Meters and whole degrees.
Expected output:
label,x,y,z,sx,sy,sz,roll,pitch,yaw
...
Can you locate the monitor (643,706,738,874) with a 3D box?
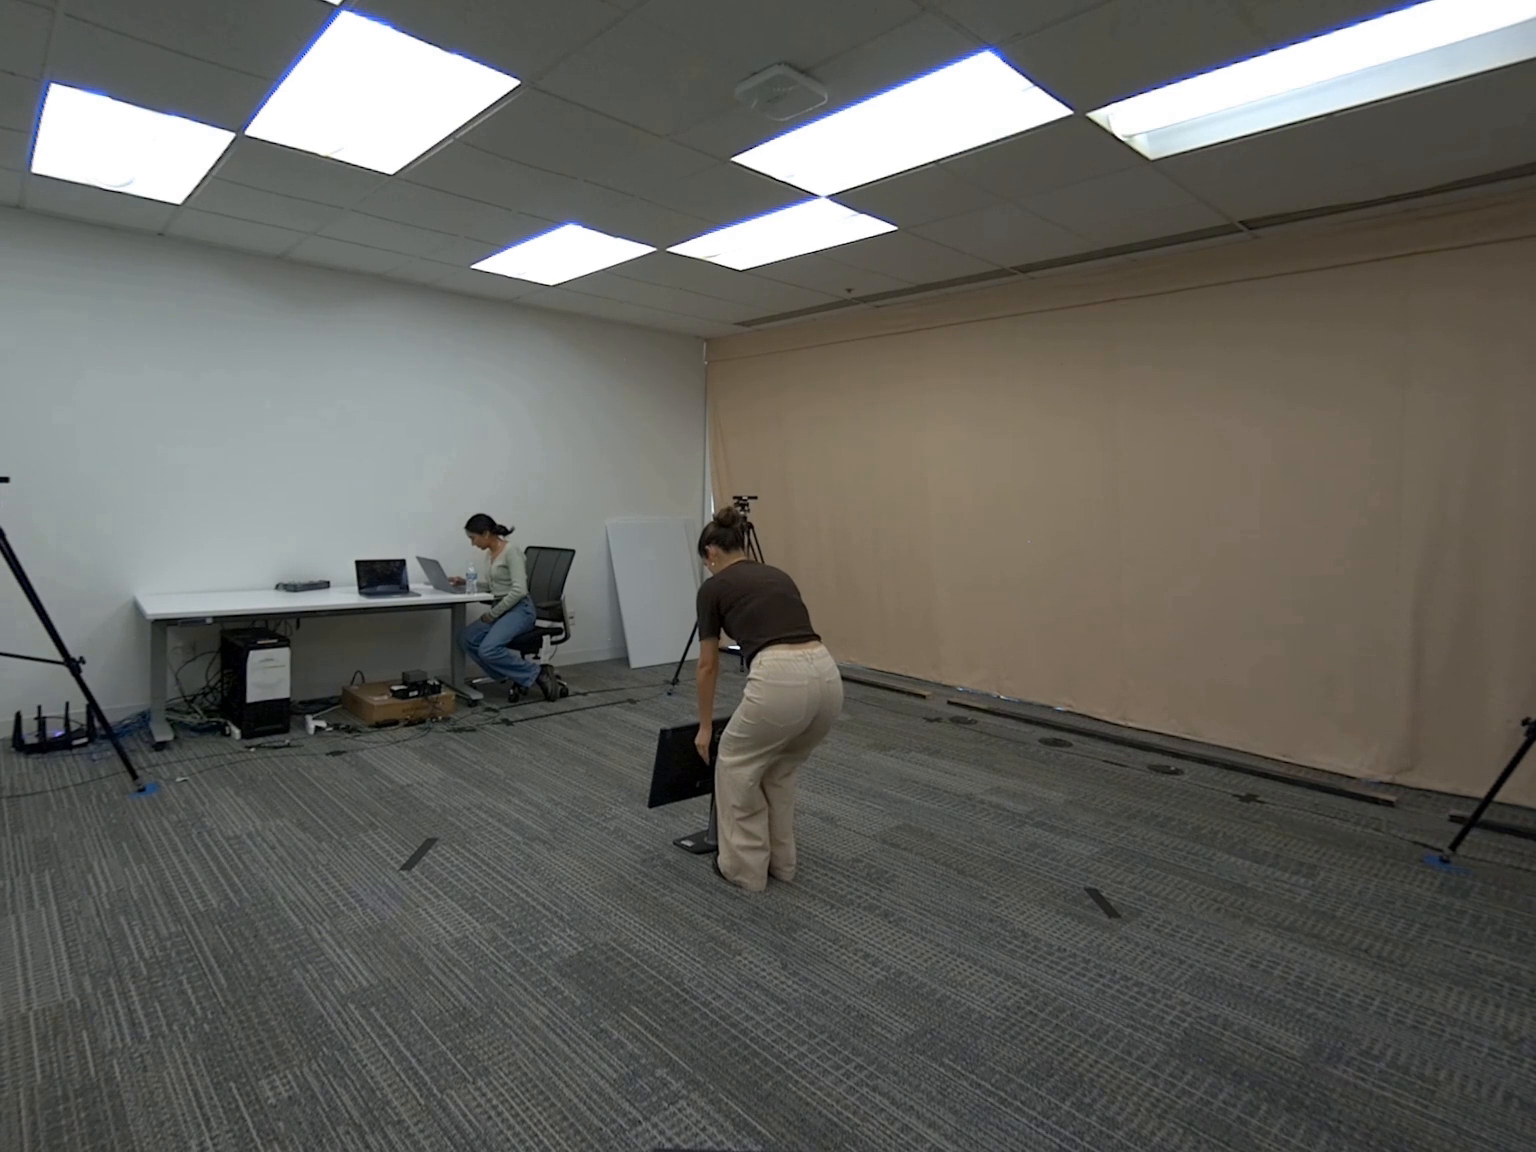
label,x,y,z,sx,sy,sz,roll,pitch,yaw
monitor,-0.216,0.826,3.379,0.527,0.521,0.192,-3,7,-40
